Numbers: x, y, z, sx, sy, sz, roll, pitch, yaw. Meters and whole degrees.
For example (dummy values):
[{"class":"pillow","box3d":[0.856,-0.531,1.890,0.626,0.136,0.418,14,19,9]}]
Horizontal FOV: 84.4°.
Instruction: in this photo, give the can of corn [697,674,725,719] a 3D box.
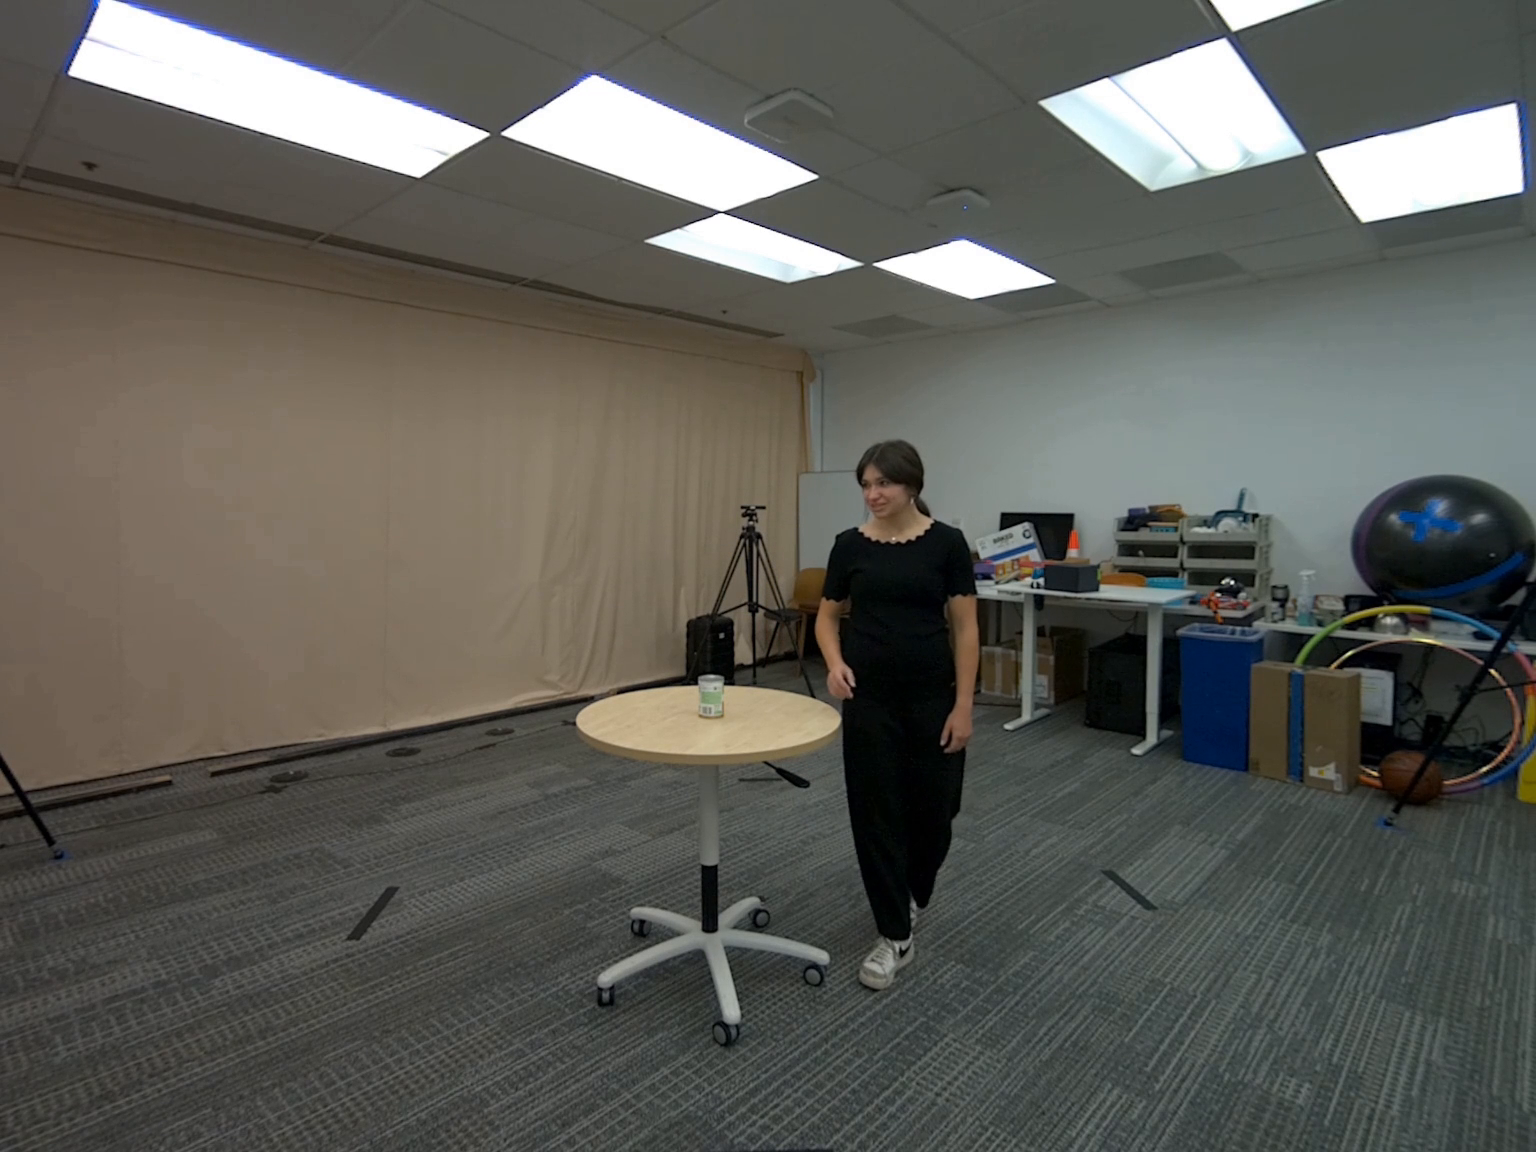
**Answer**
[{"class":"can of corn","box3d":[-0.158,0.352,2.439,0.074,0.111,0.074,0,4,-2]}]
